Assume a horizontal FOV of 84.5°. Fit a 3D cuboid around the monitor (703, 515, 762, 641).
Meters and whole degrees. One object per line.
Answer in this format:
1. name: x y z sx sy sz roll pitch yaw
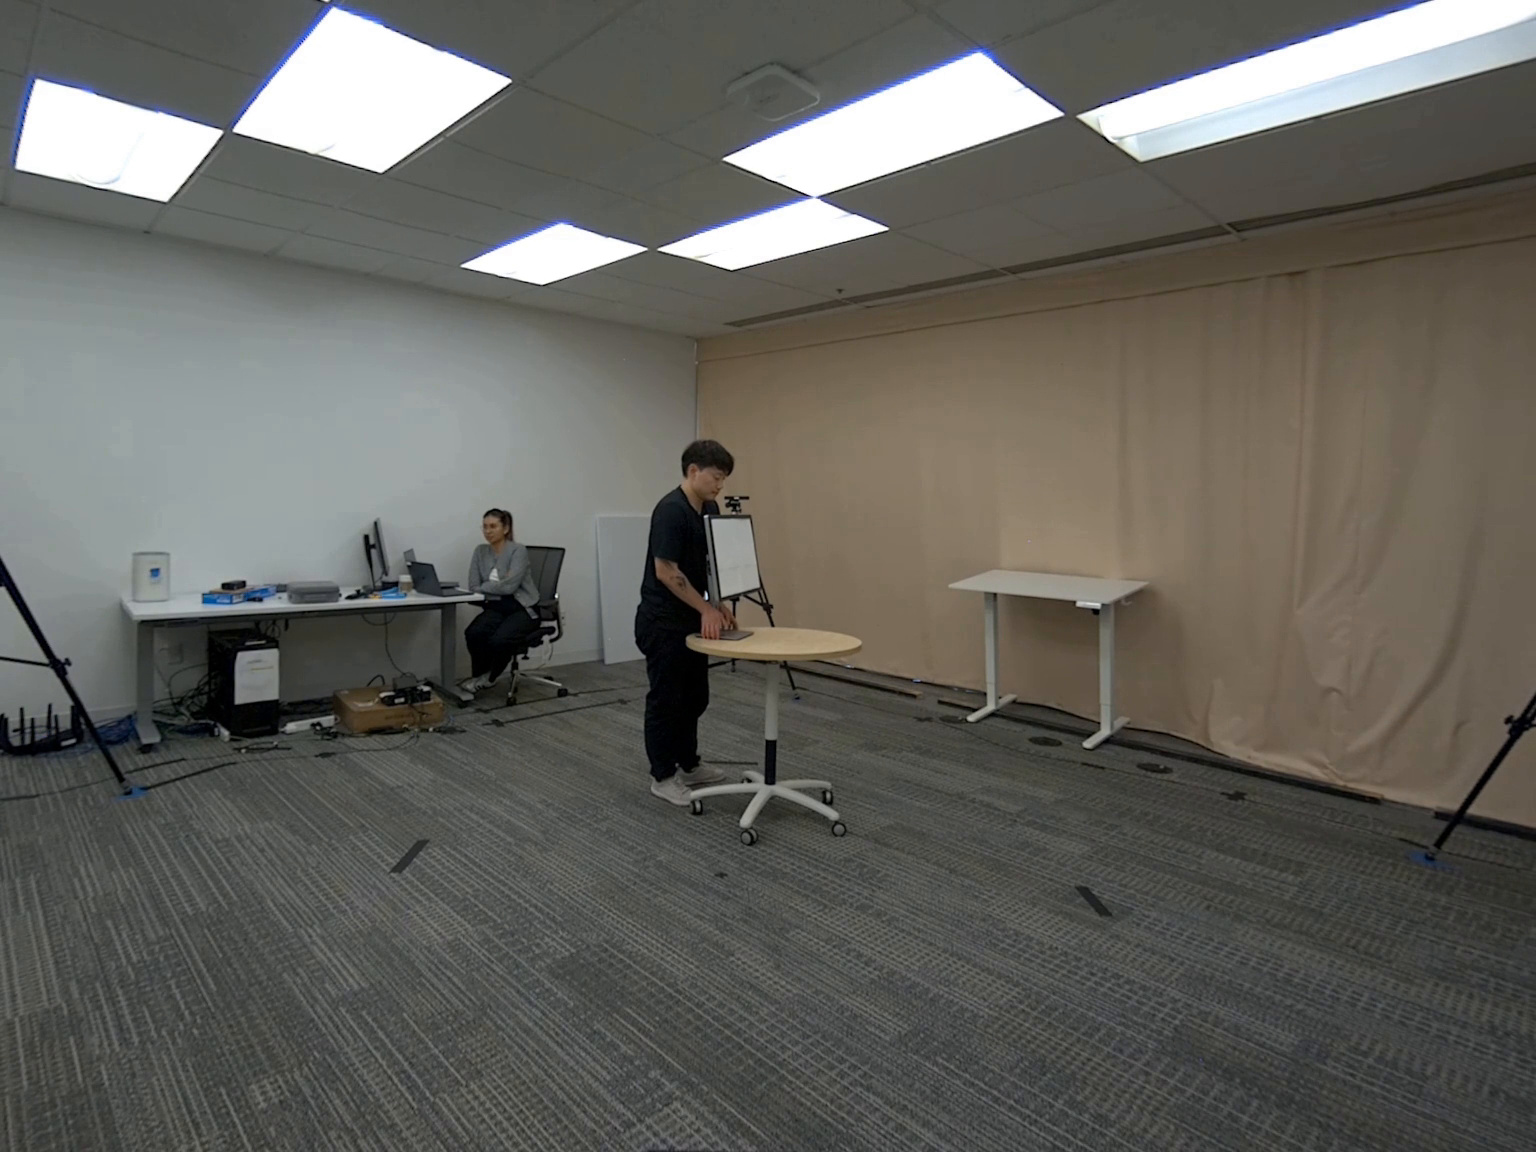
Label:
1. monitor: -0.188 -0.004 3.752 0.190 0.521 0.532 4 4 16
